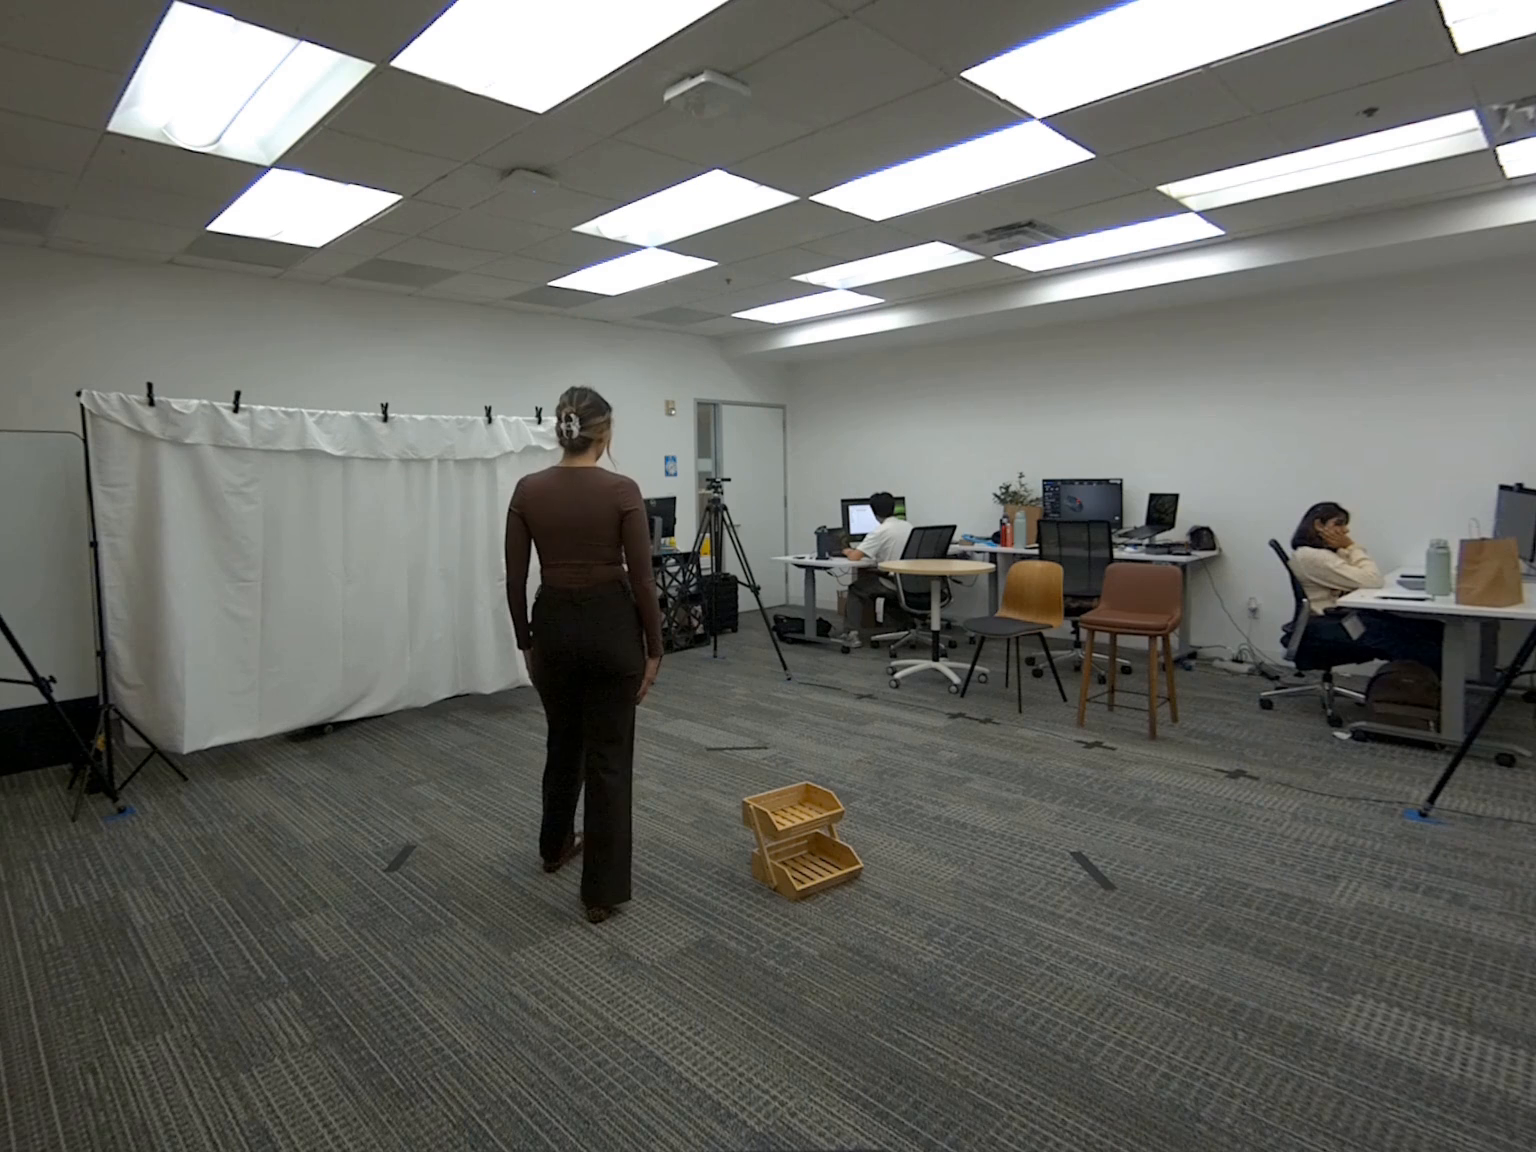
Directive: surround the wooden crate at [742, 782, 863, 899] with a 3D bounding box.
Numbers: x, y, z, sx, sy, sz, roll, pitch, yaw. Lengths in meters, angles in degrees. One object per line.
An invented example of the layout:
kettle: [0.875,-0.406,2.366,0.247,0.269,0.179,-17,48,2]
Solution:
wooden crate: [0.126,0.918,2.999,0.316,0.272,0.311,-5,6,-37]
